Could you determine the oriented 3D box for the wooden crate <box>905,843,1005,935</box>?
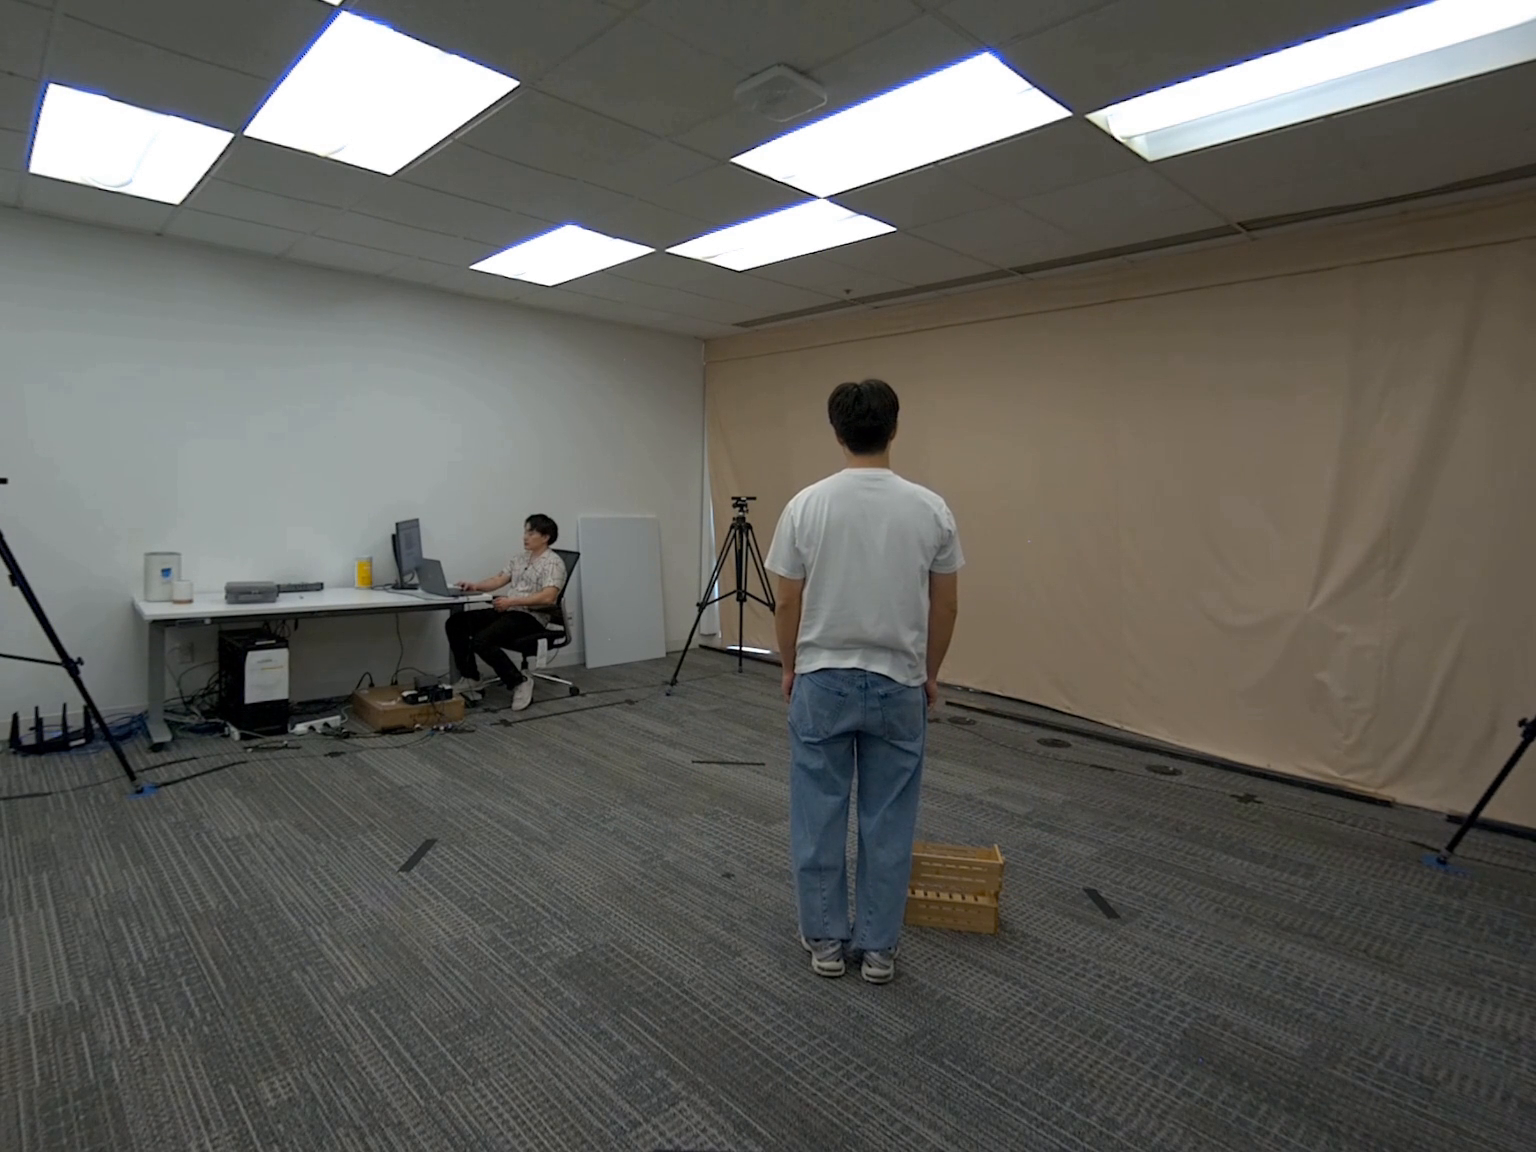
[{"bbox_3d":[0.616,1.018,2.846,0.327,0.272,0.301,2,5,8],"label":"wooden crate"}]
